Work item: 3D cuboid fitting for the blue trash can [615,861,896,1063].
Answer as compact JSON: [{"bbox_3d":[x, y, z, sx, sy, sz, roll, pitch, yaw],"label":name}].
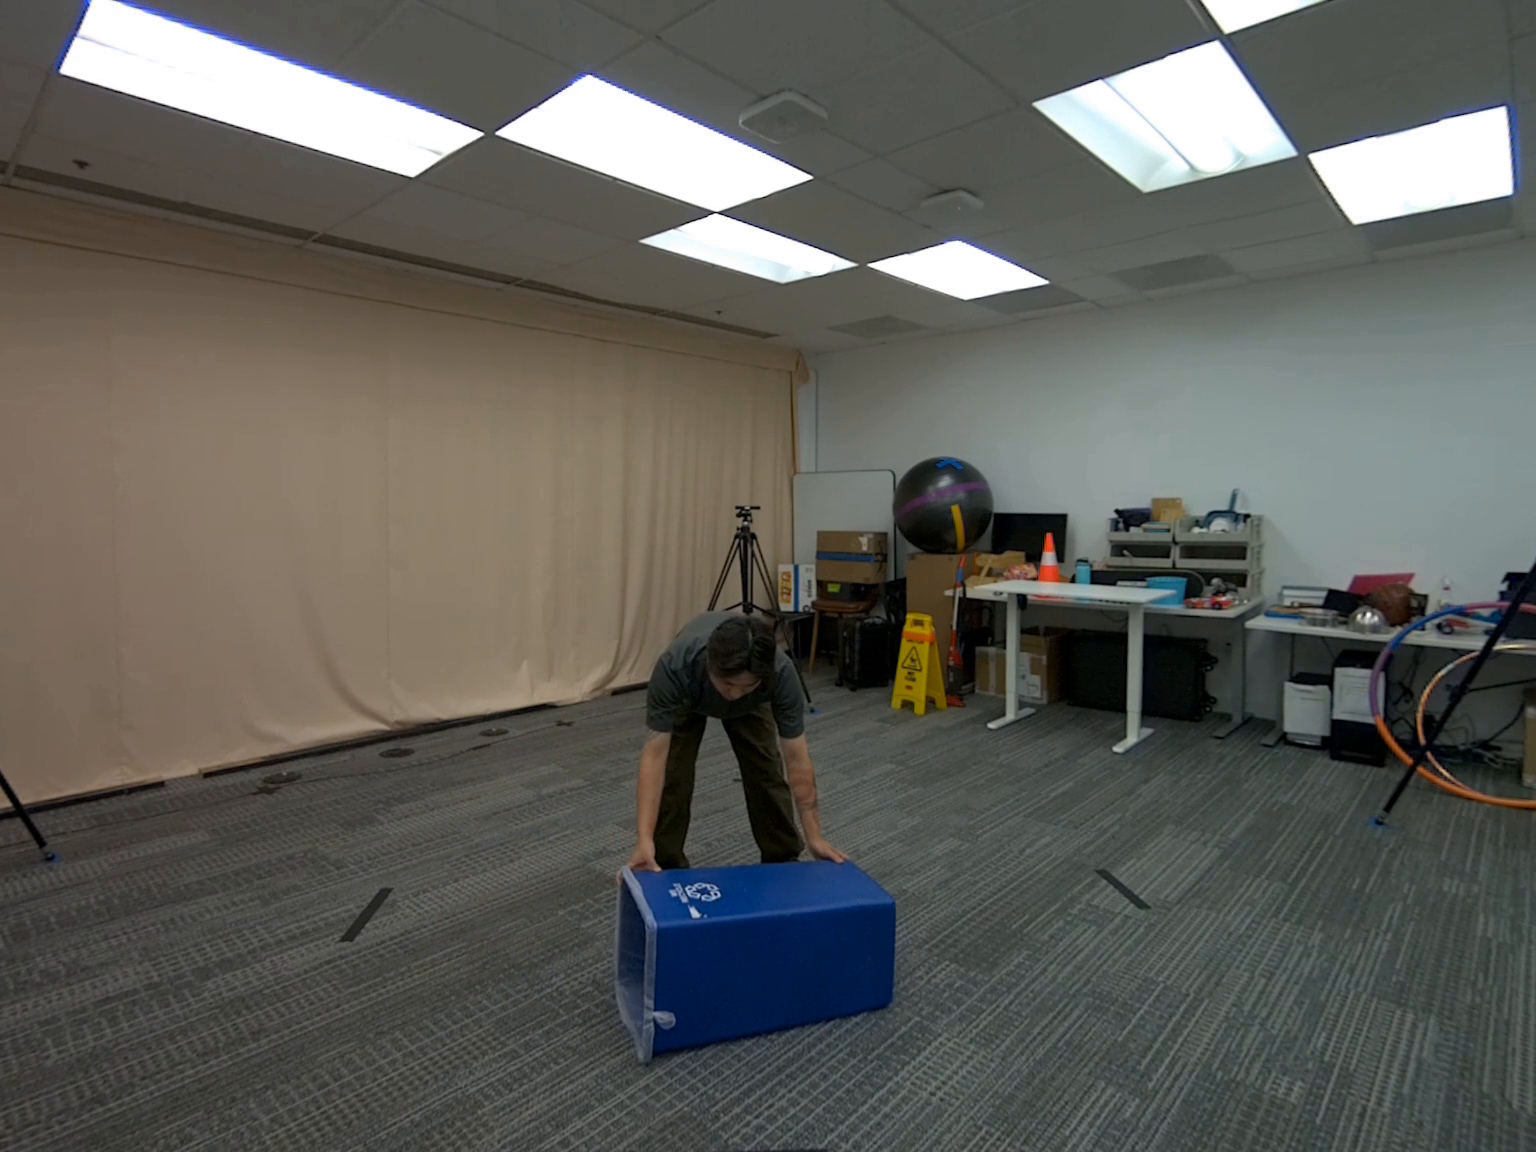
[{"bbox_3d":[-0.029,1.020,2.358,0.699,0.374,0.386,0,2,-19],"label":"blue trash can"}]
